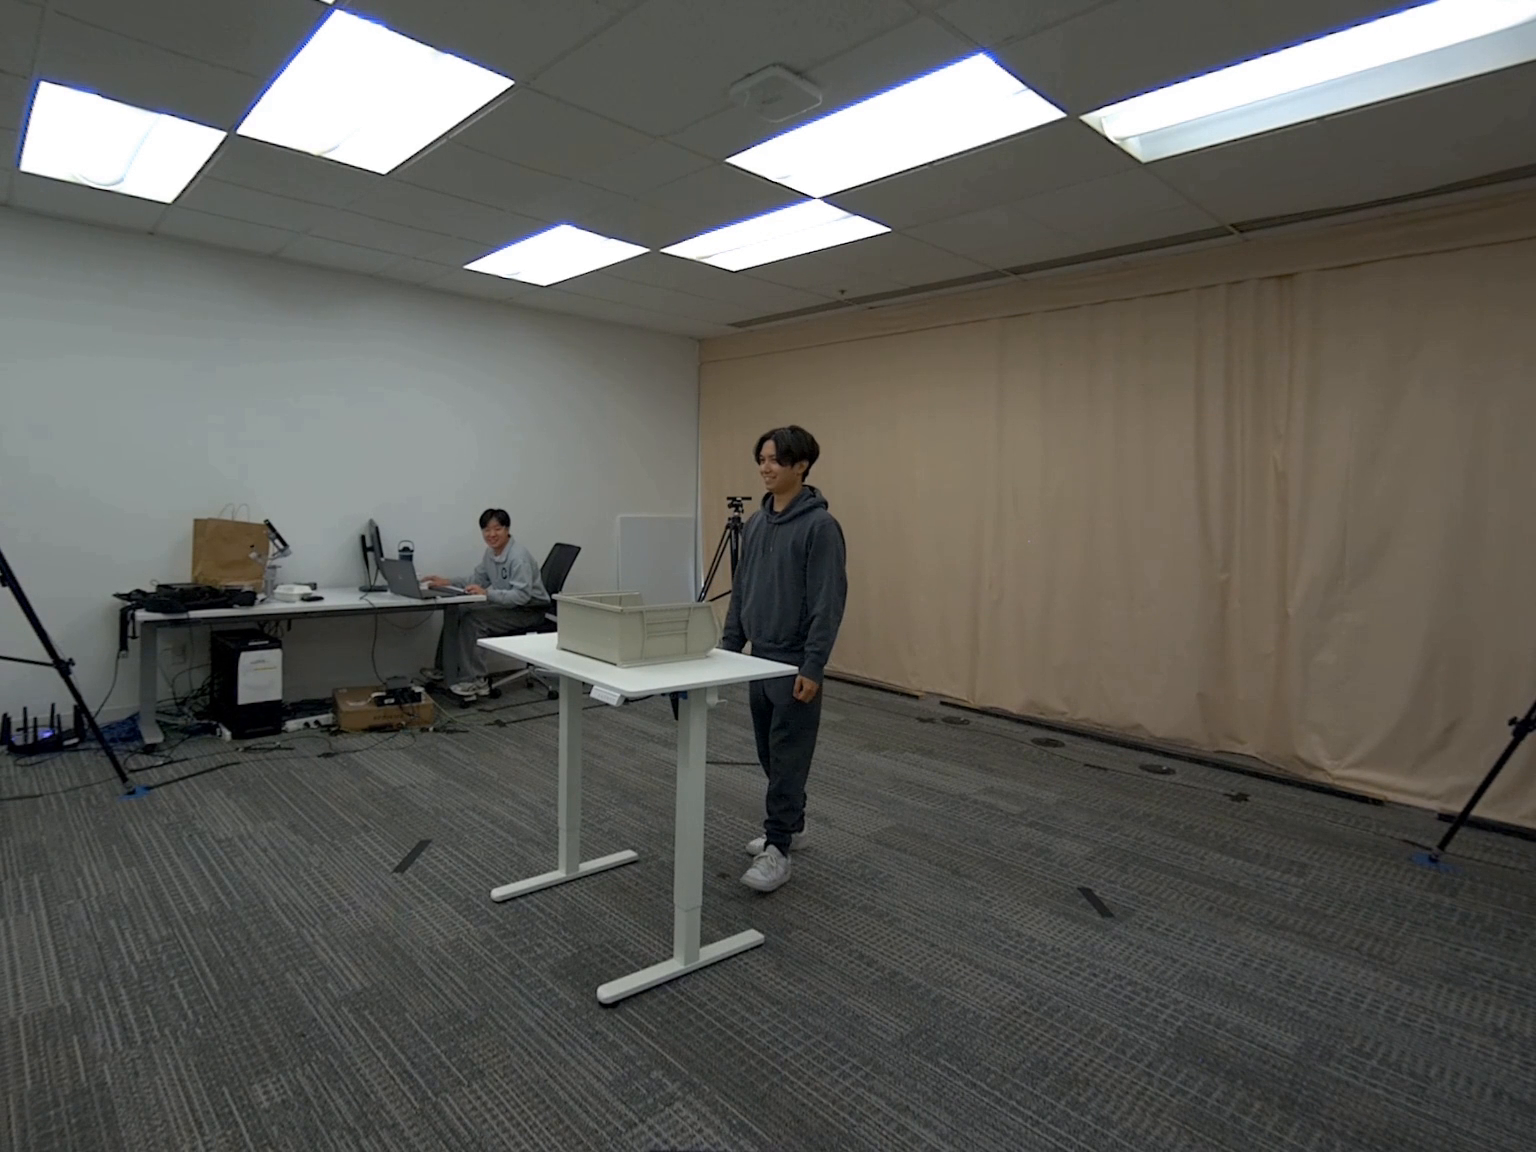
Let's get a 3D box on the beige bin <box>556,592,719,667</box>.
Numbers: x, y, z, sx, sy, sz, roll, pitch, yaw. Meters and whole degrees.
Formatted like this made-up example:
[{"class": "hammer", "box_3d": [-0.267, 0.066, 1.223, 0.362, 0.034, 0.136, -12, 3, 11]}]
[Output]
[{"class": "beige bin", "box_3d": [-0.436, 0.163, 2.724, 0.369, 0.188, 0.433, -3, 6, -41]}]
